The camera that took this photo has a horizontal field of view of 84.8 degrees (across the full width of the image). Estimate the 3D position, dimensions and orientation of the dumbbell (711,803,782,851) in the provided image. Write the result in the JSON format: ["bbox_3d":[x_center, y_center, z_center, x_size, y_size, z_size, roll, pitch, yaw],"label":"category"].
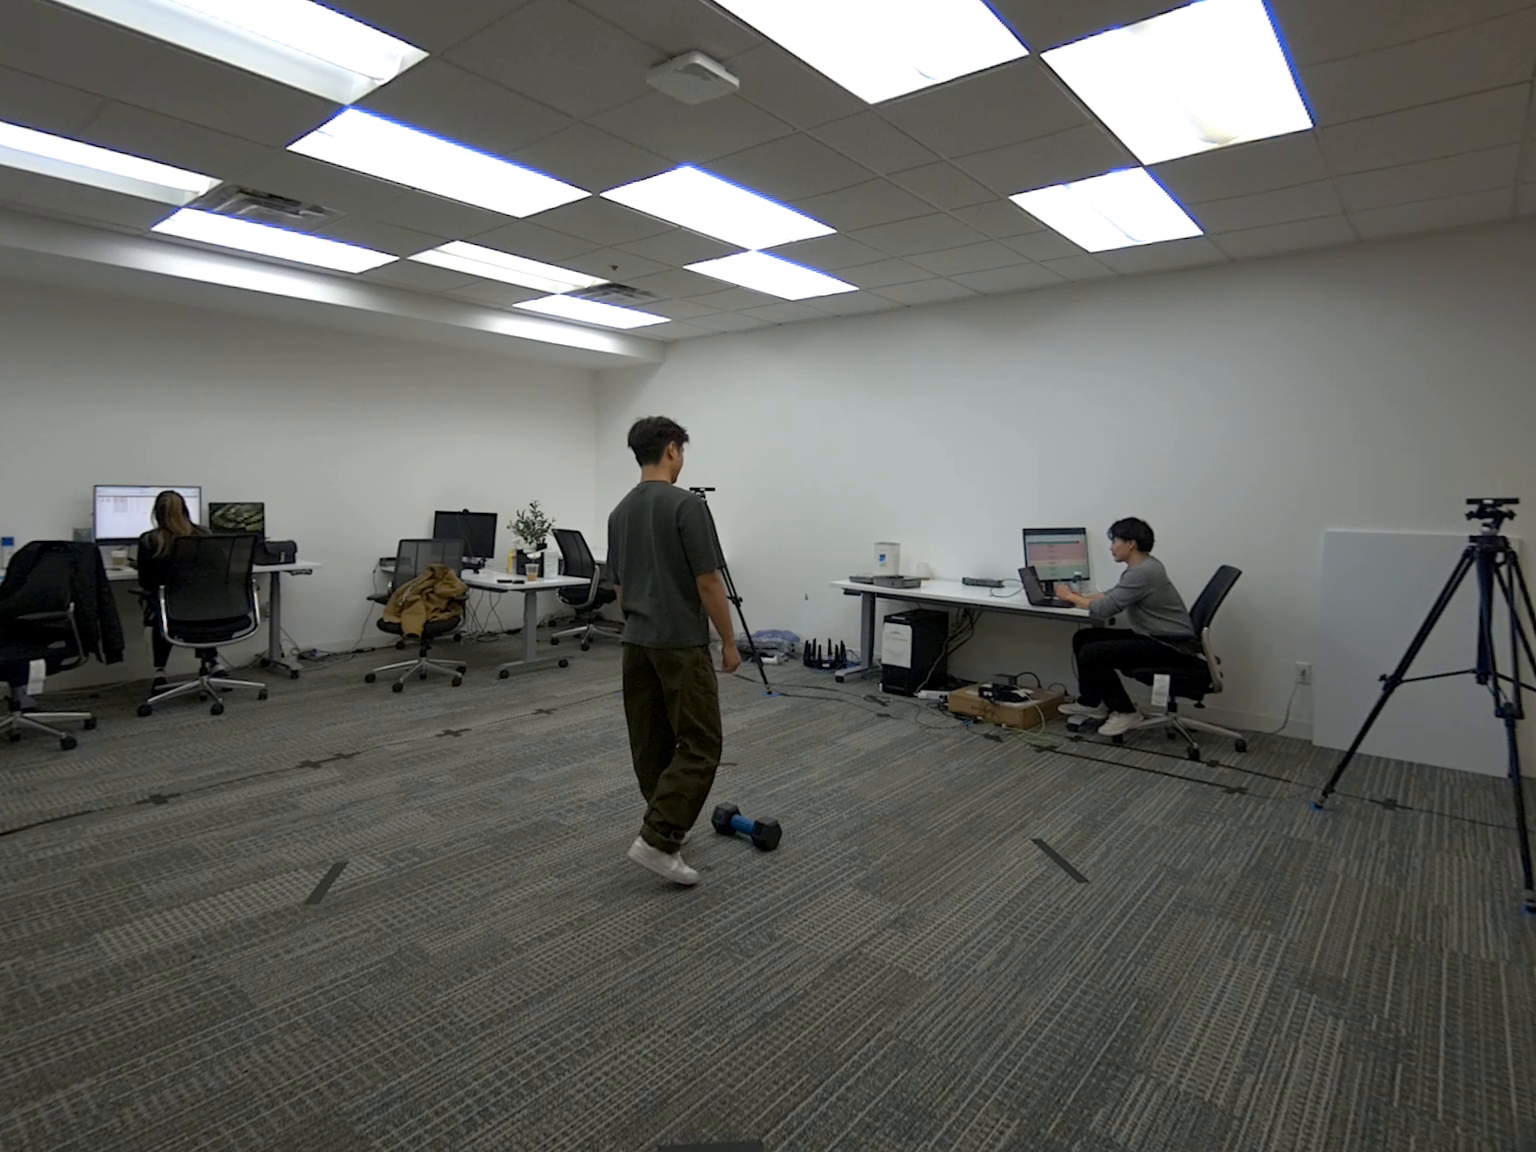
[{"bbox_3d":[-0.095,0.989,3.375,0.303,0.124,0.104,5,-25,43],"label":"dumbbell"}]
